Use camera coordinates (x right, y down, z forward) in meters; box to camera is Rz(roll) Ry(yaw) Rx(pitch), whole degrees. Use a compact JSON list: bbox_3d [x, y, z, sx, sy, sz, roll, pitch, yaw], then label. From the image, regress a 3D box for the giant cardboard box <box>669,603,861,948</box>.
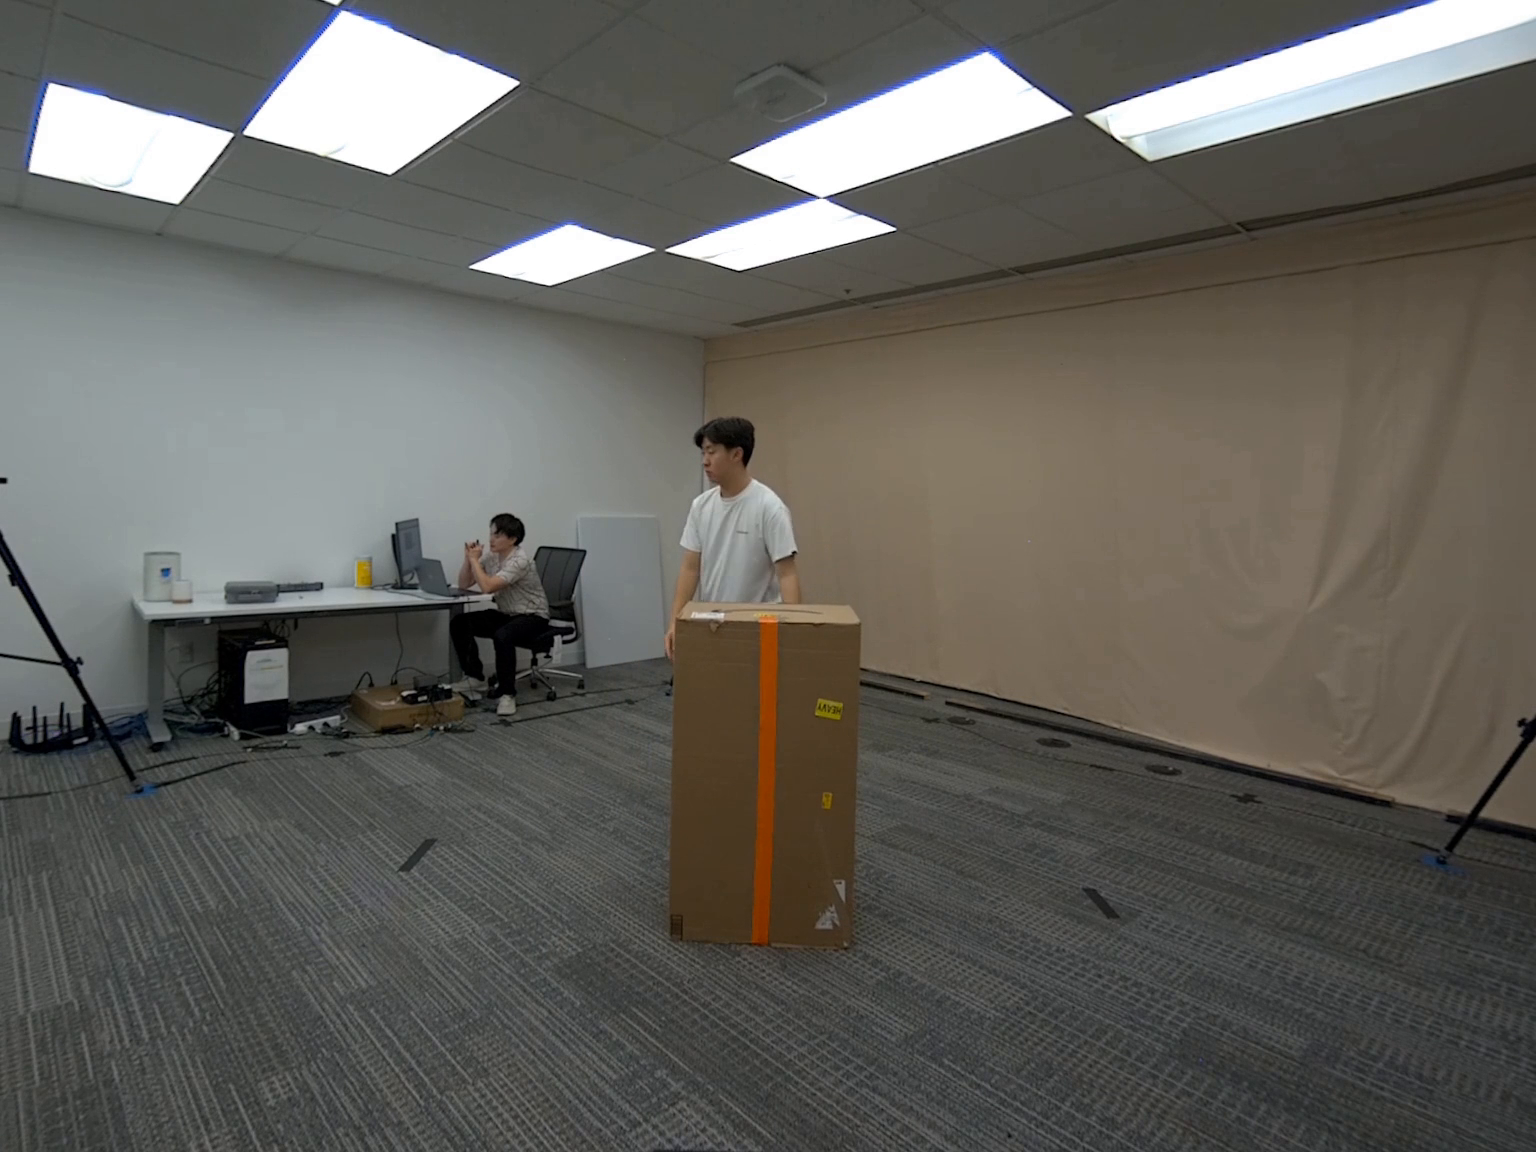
[{"bbox_3d":[-0.013,0.630,2.797,0.578,1.023,0.427,2,4,1],"label":"giant cardboard box"}]
